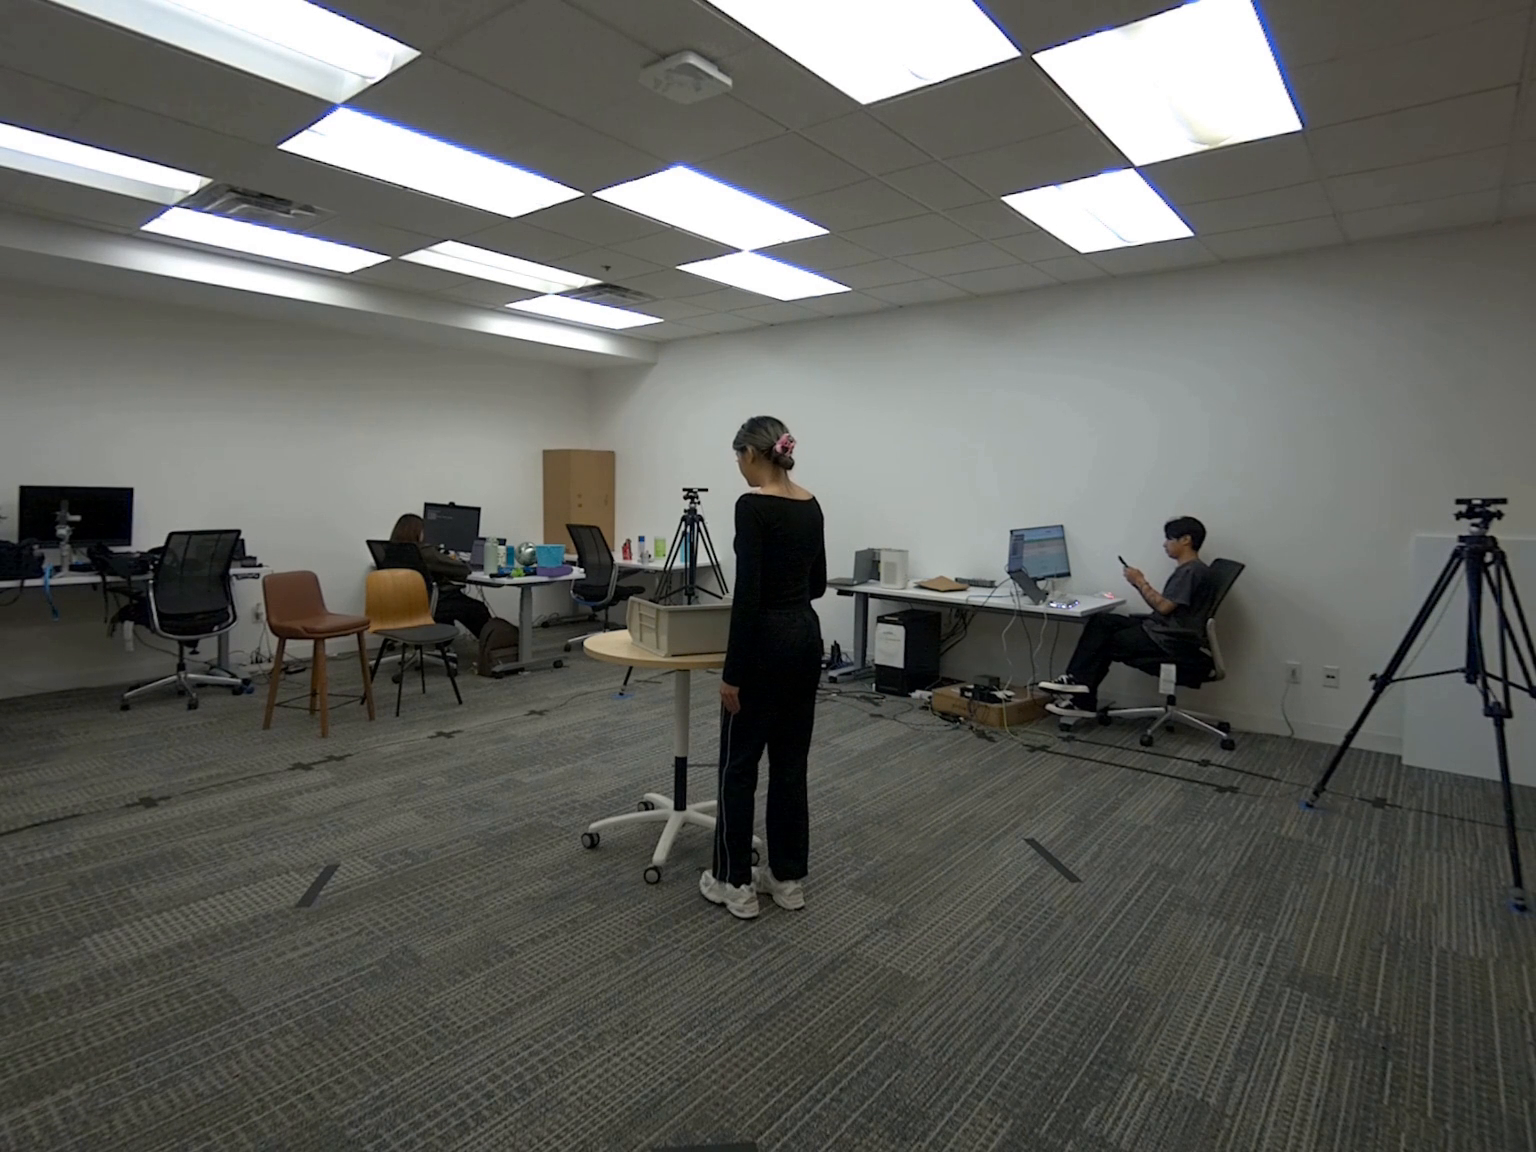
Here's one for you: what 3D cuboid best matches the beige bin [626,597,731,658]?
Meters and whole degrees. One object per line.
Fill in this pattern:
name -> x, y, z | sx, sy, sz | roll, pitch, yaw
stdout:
beige bin -> -0.285, 0.172, 3.215 | 0.411, 0.188, 0.388 | 0, 6, -28
